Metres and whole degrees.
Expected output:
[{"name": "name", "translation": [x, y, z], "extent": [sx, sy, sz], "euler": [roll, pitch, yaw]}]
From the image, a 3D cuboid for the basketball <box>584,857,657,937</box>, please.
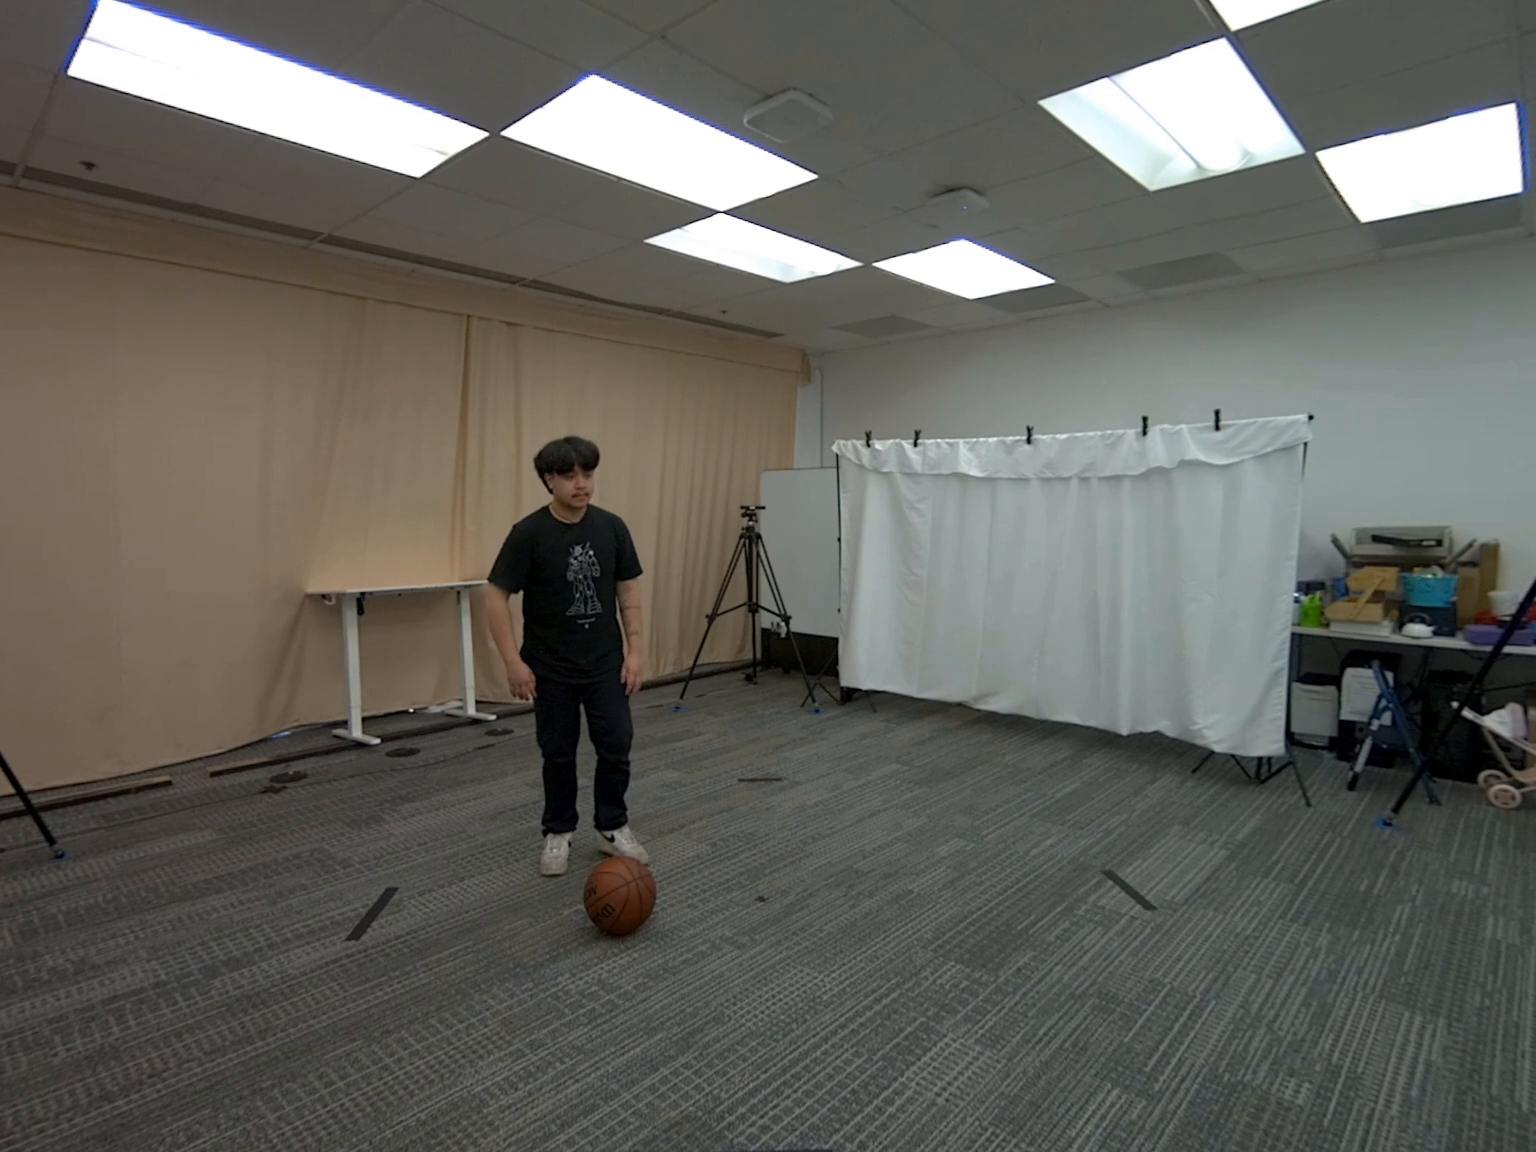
[{"name": "basketball", "translation": [-0.487, 1.044, 2.768], "extent": [0.236, 0.235, 0.237], "euler": [0, 4, -2]}]
